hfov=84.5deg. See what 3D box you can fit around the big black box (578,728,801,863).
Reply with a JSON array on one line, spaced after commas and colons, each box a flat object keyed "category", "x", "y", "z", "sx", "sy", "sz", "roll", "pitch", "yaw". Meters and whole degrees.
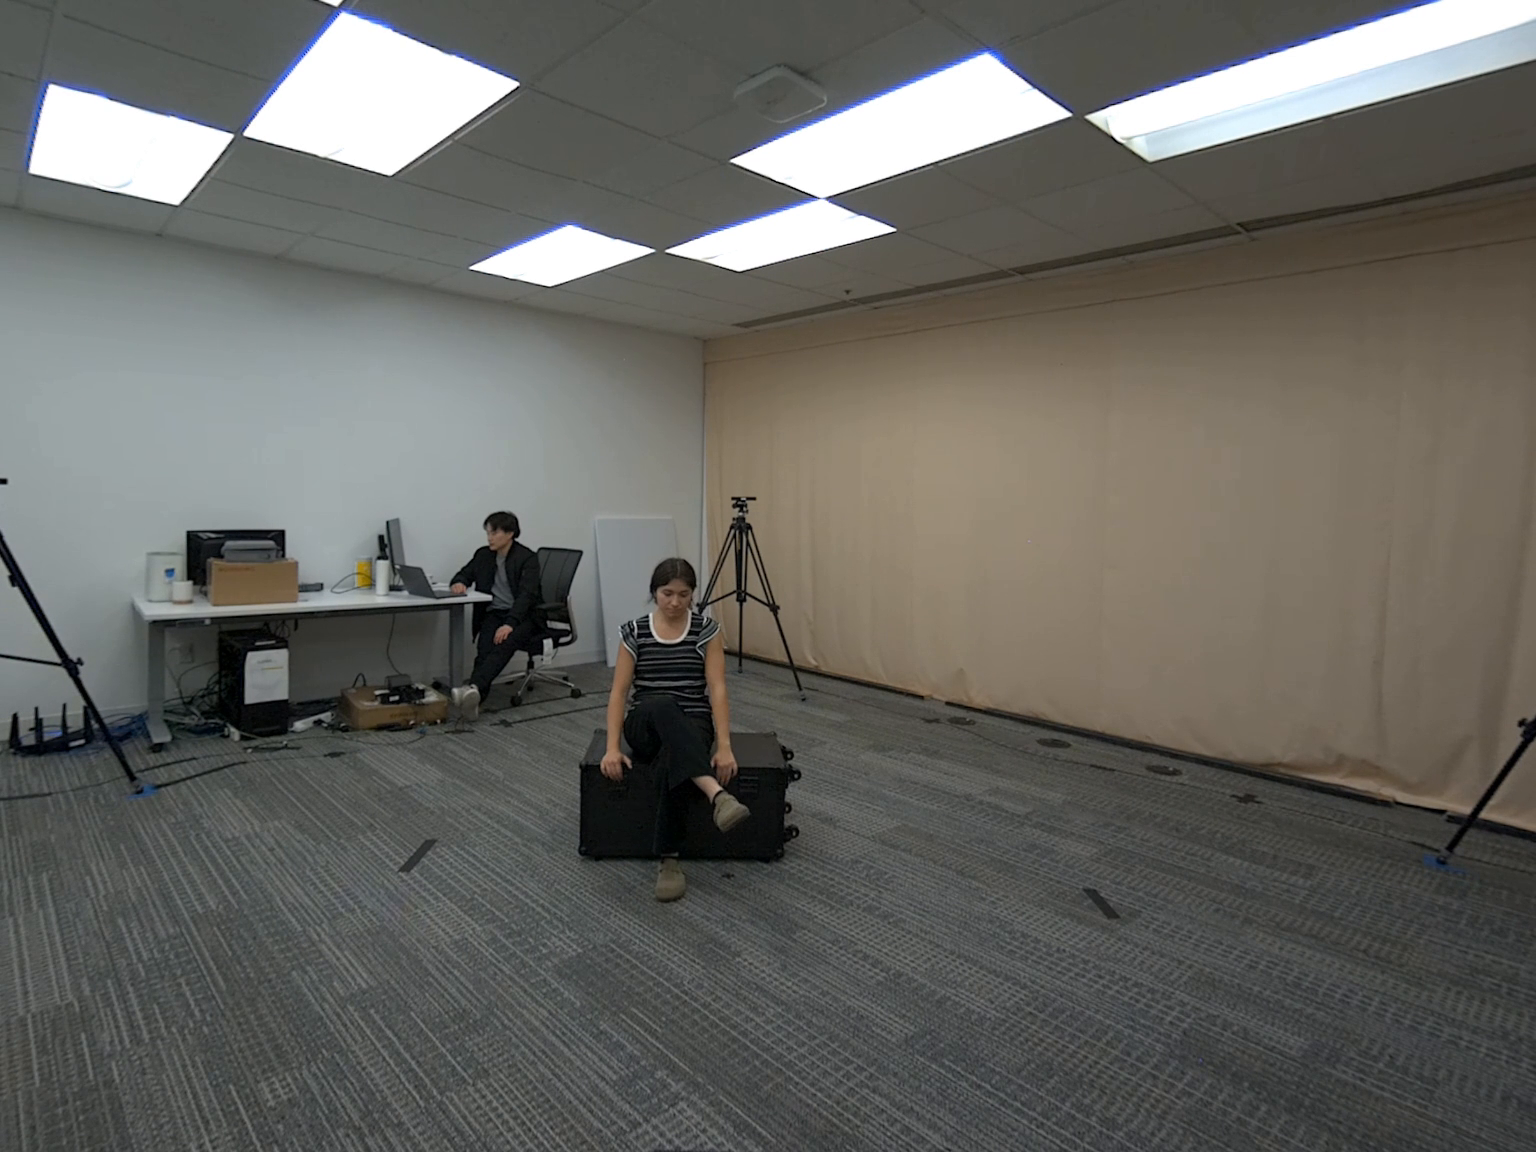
[{"category": "big black box", "x": -0.314, "y": 0.880, "z": 3.433, "sx": 0.859, "sy": 0.395, "sz": 0.524, "roll": 1, "pitch": 5, "yaw": -4}]
